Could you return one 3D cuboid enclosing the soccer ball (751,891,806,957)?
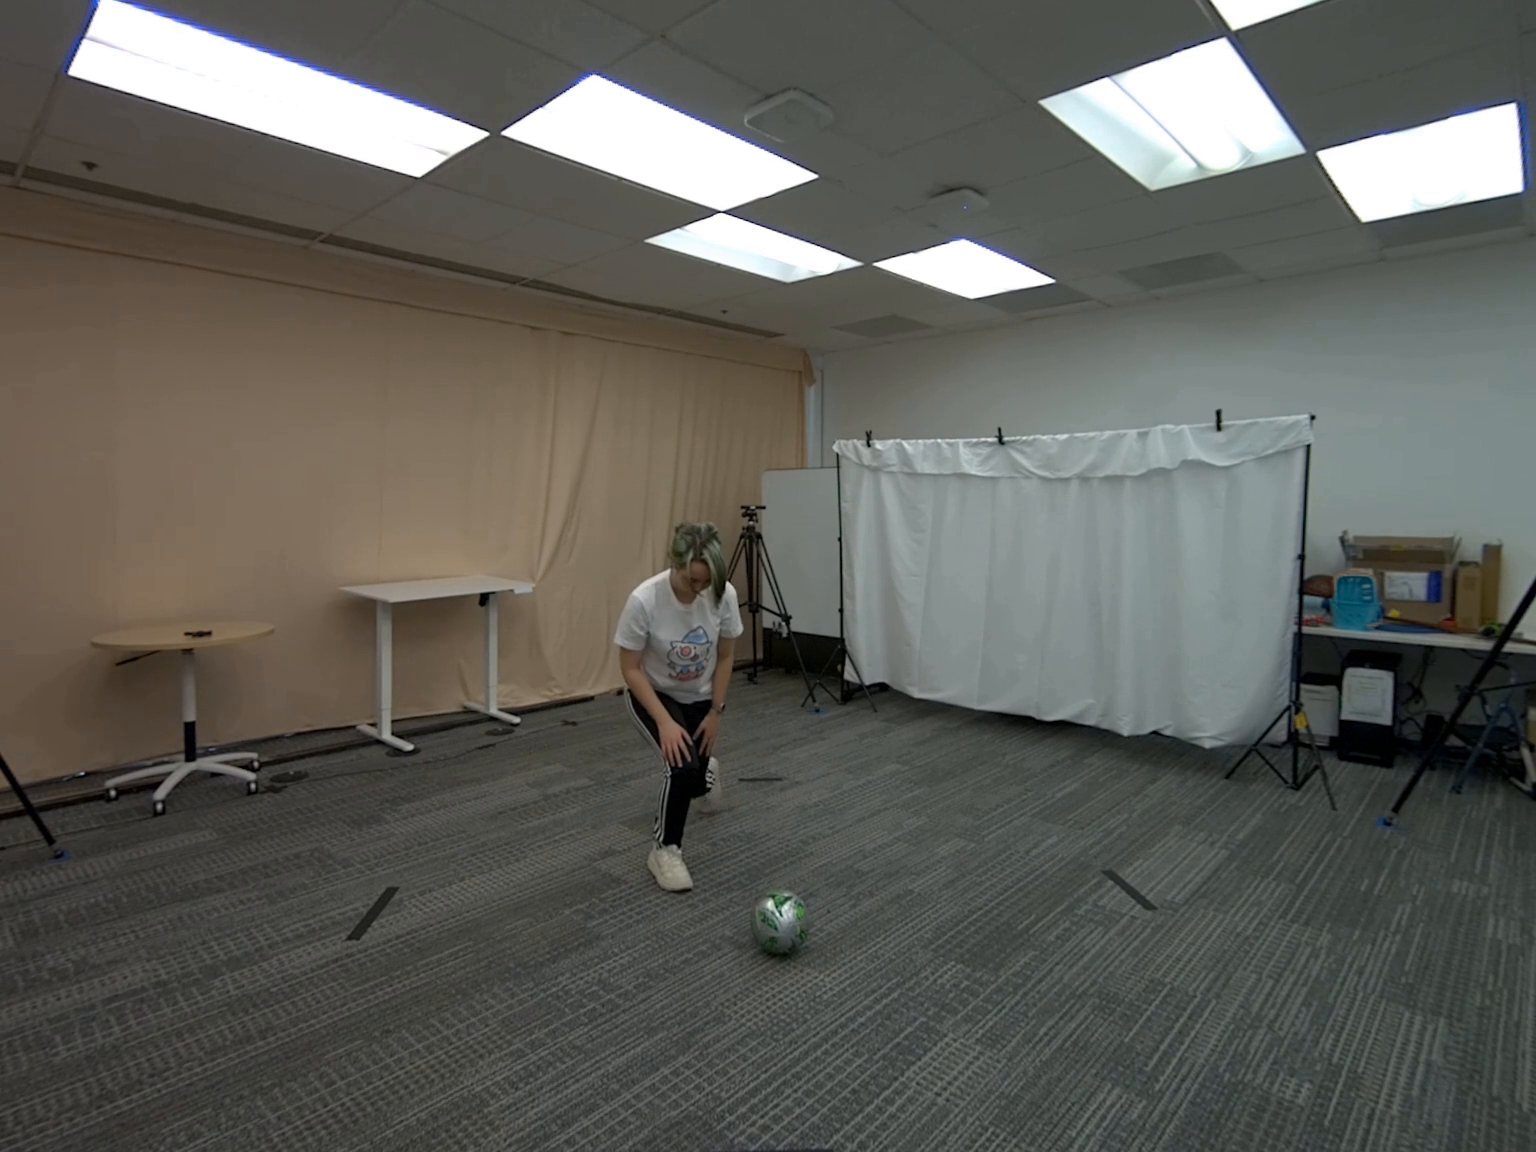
[{"bbox_3d":[0.041,1.082,2.630,0.187,0.187,0.188,0,4,-2],"label":"soccer ball"}]
